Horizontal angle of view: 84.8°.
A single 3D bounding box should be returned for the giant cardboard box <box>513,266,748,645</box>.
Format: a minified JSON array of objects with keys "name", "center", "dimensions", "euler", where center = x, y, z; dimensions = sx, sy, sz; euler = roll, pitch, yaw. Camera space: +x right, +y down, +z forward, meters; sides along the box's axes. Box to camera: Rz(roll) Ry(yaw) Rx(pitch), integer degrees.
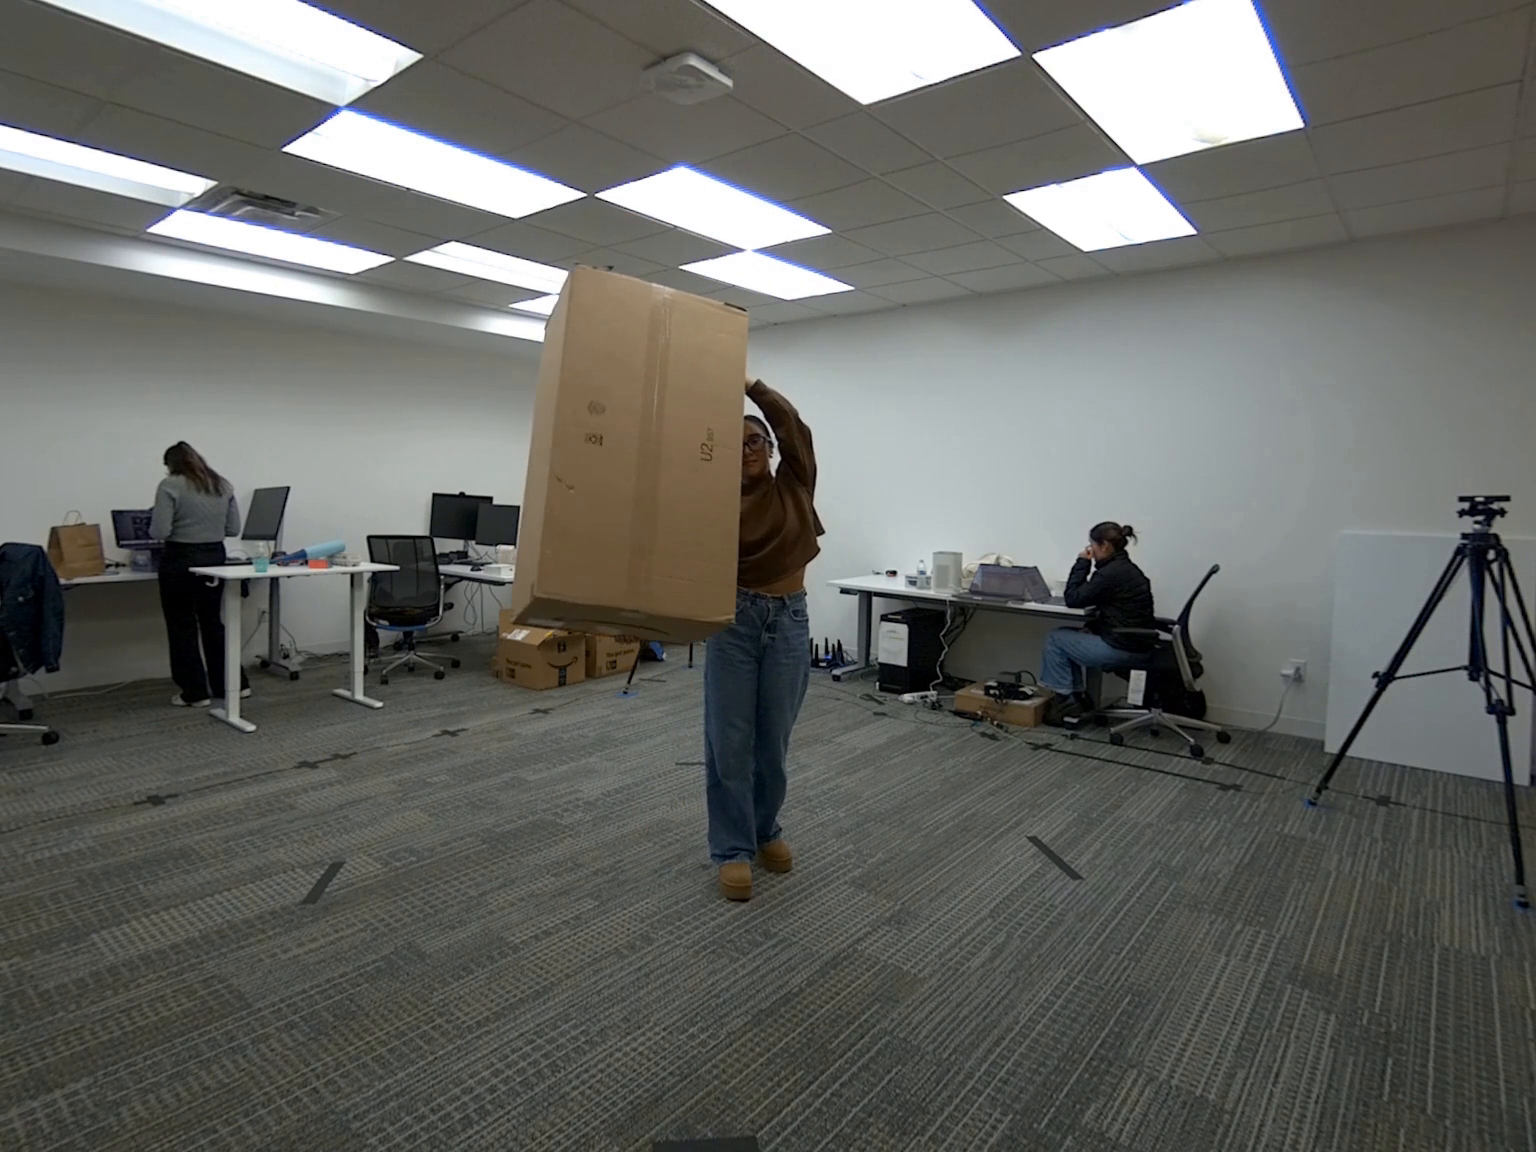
[{"name":"giant cardboard box","center":[-0.433,-0.351,2.642],"dimensions":[0.564,1.042,0.430],"euler":[9,-18,-21]}]
